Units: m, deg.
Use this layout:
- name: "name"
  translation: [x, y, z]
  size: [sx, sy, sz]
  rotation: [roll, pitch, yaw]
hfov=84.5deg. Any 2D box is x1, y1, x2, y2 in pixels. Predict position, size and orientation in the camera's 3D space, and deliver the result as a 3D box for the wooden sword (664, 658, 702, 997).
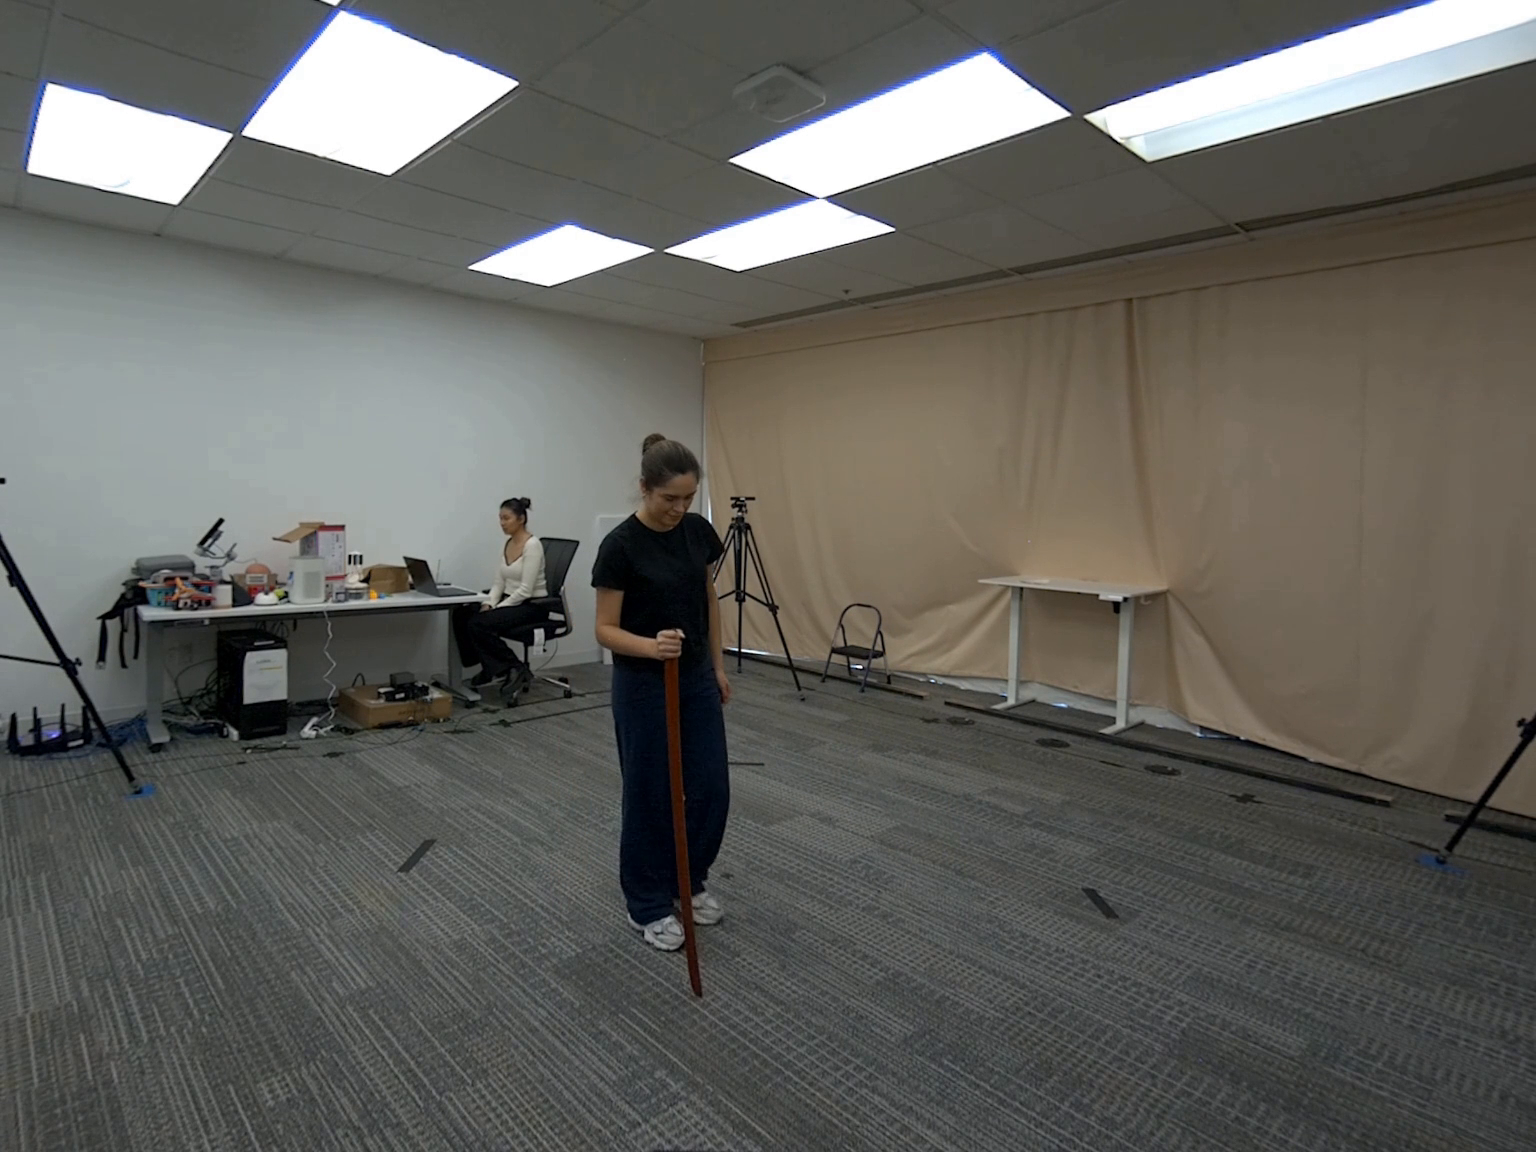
- name: "wooden sword"
  translation: [-0.245, 0.674, 2.311]
  size: [0.024, 1.022, 0.051]
  rotation: [-4, 3, 15]
